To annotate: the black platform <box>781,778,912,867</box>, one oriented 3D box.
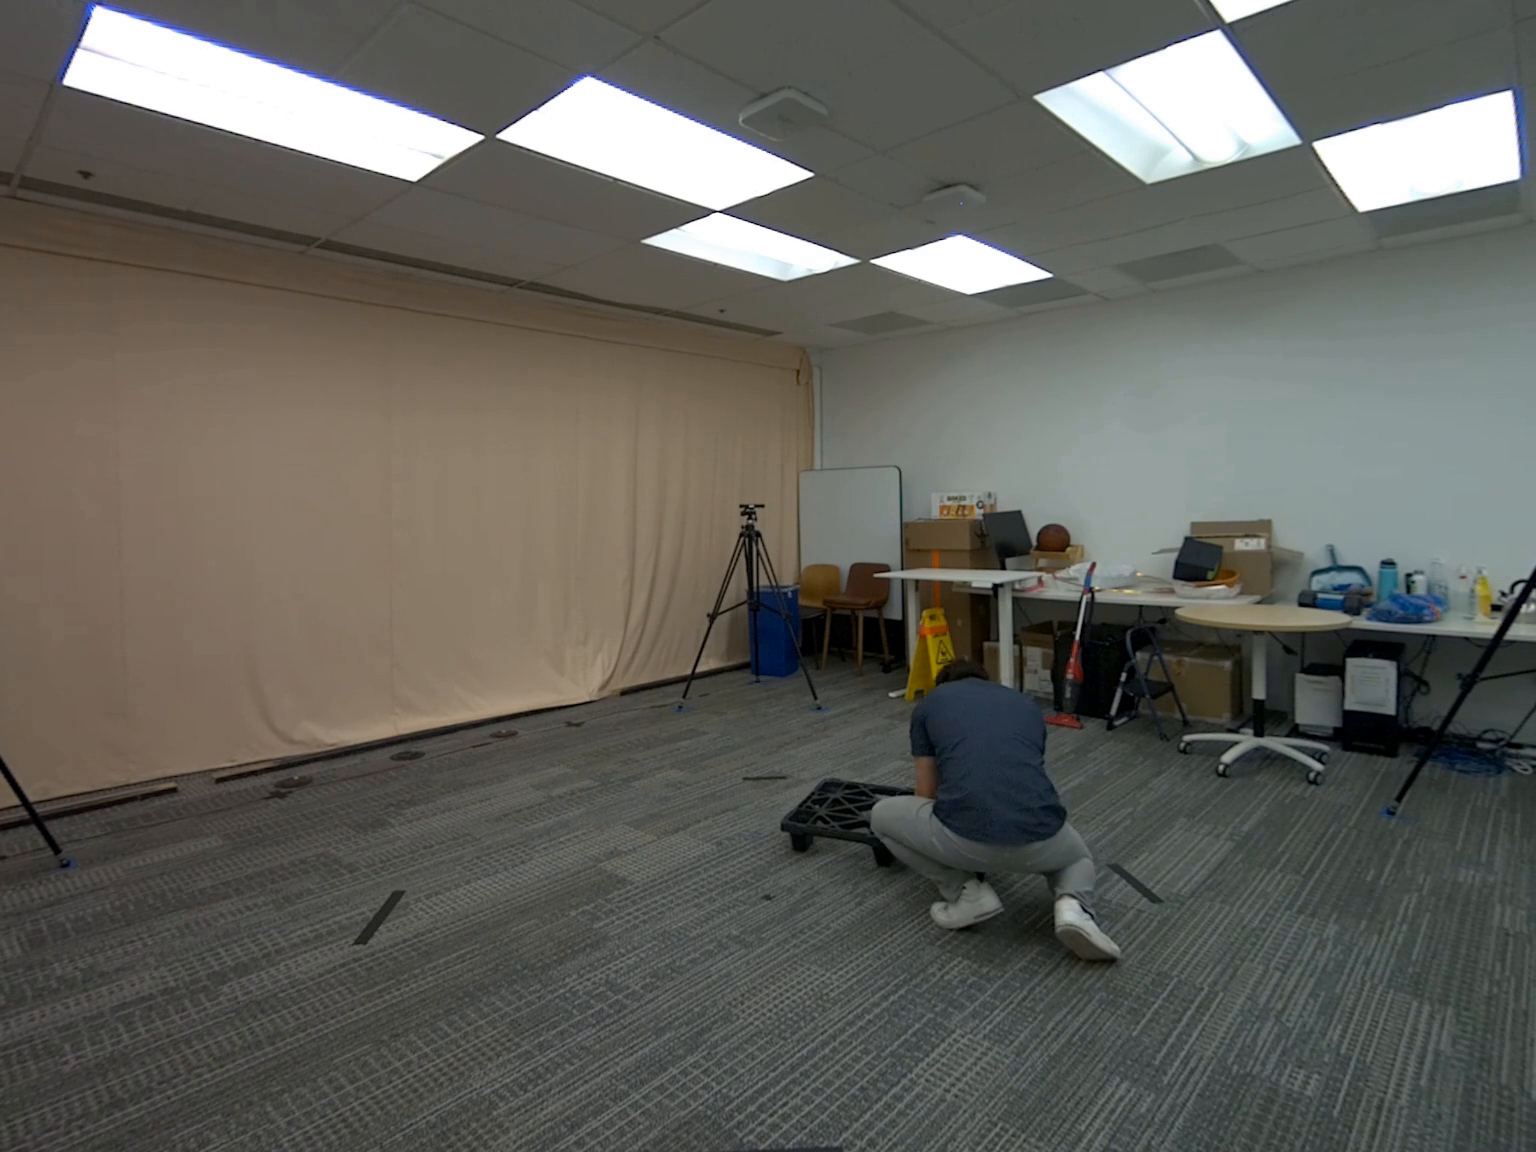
[{"bbox_3d":[0.524,1.024,3.434,0.825,0.143,0.592,2,4,23],"label":"black platform"}]
